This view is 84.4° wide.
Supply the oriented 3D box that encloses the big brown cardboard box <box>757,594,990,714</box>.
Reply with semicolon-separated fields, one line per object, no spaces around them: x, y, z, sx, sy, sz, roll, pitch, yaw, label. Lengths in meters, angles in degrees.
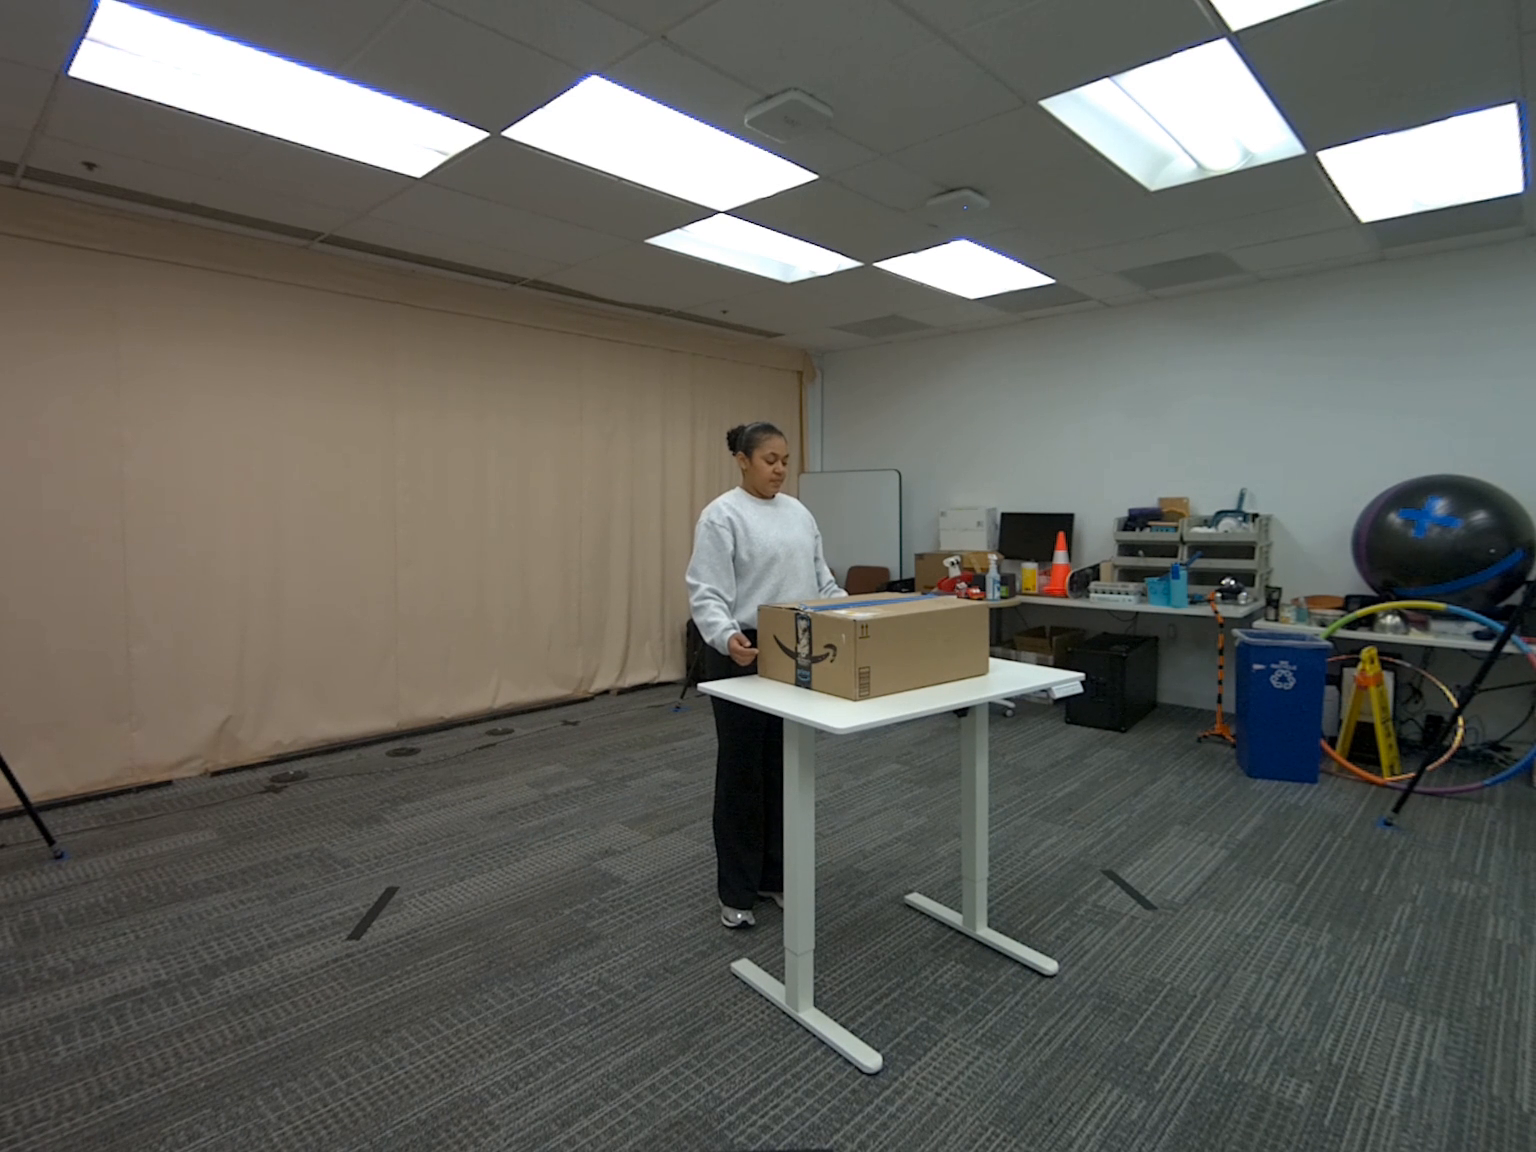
0.318;0.191;2.515;0.571;0.233;0.431;-3;5;-38;big brown cardboard box
